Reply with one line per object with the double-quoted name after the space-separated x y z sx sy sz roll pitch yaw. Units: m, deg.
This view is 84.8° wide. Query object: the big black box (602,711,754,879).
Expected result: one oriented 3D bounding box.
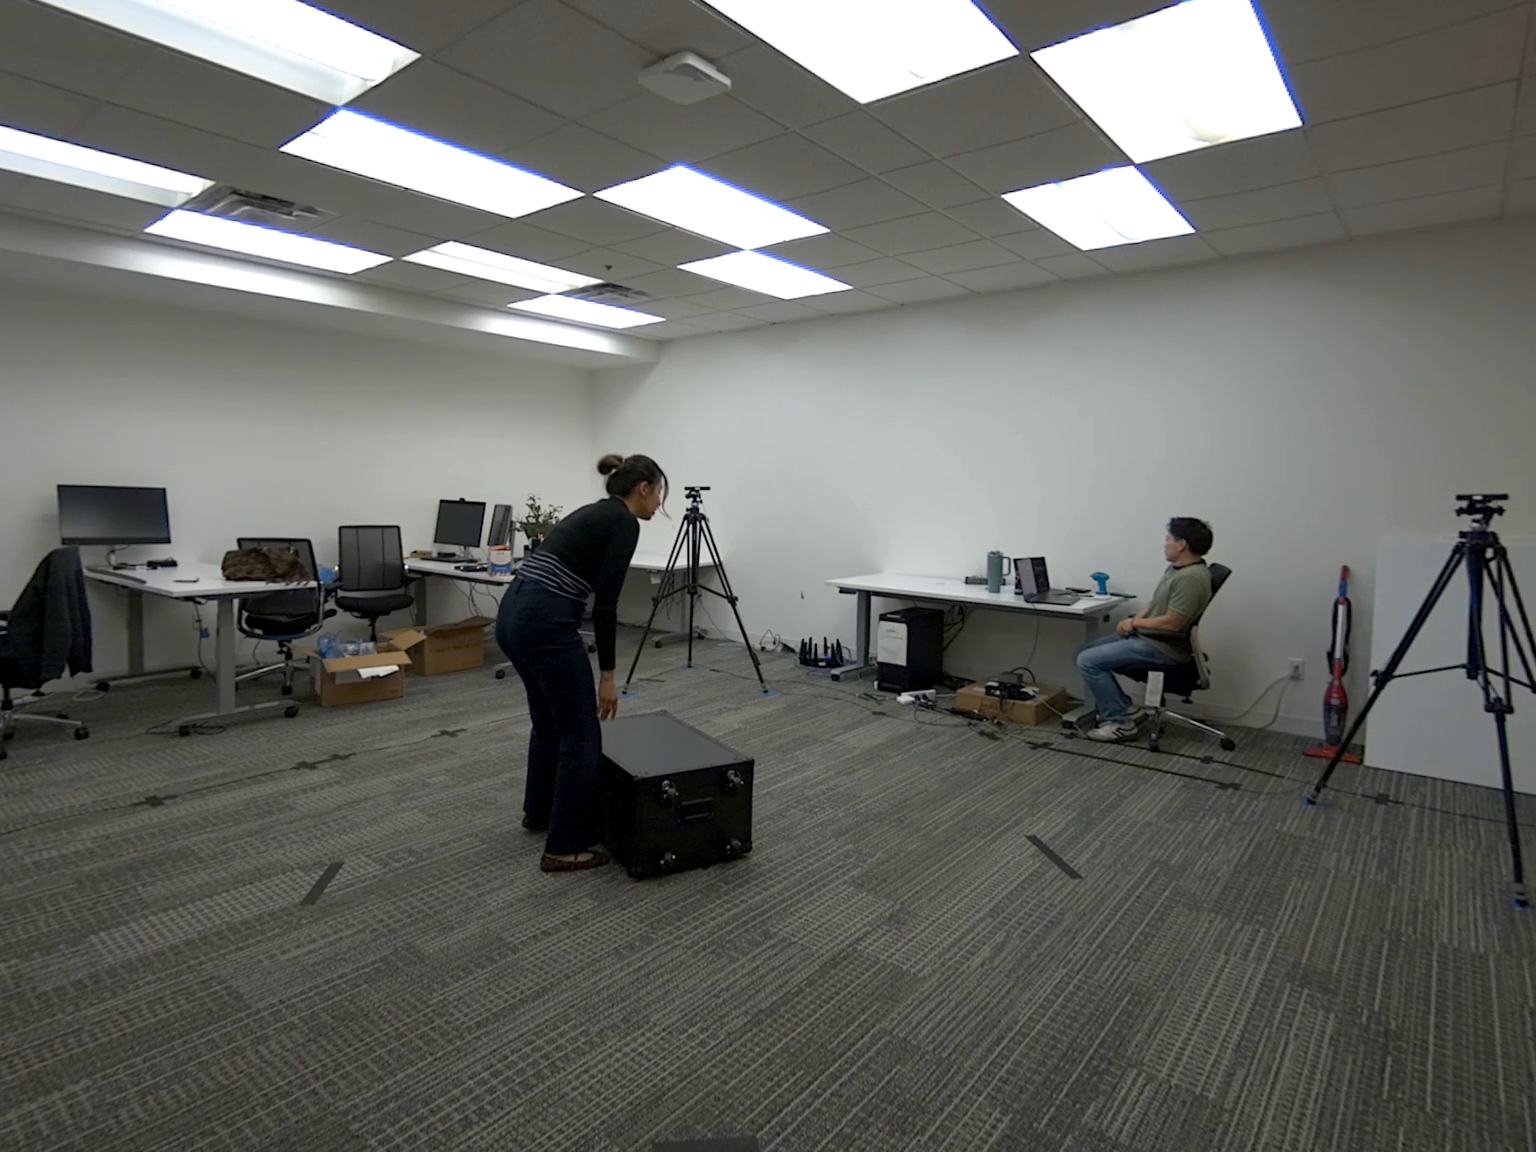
-0.490 0.836 3.434 0.507 0.395 0.888 -2 6 -31 "big black box"
